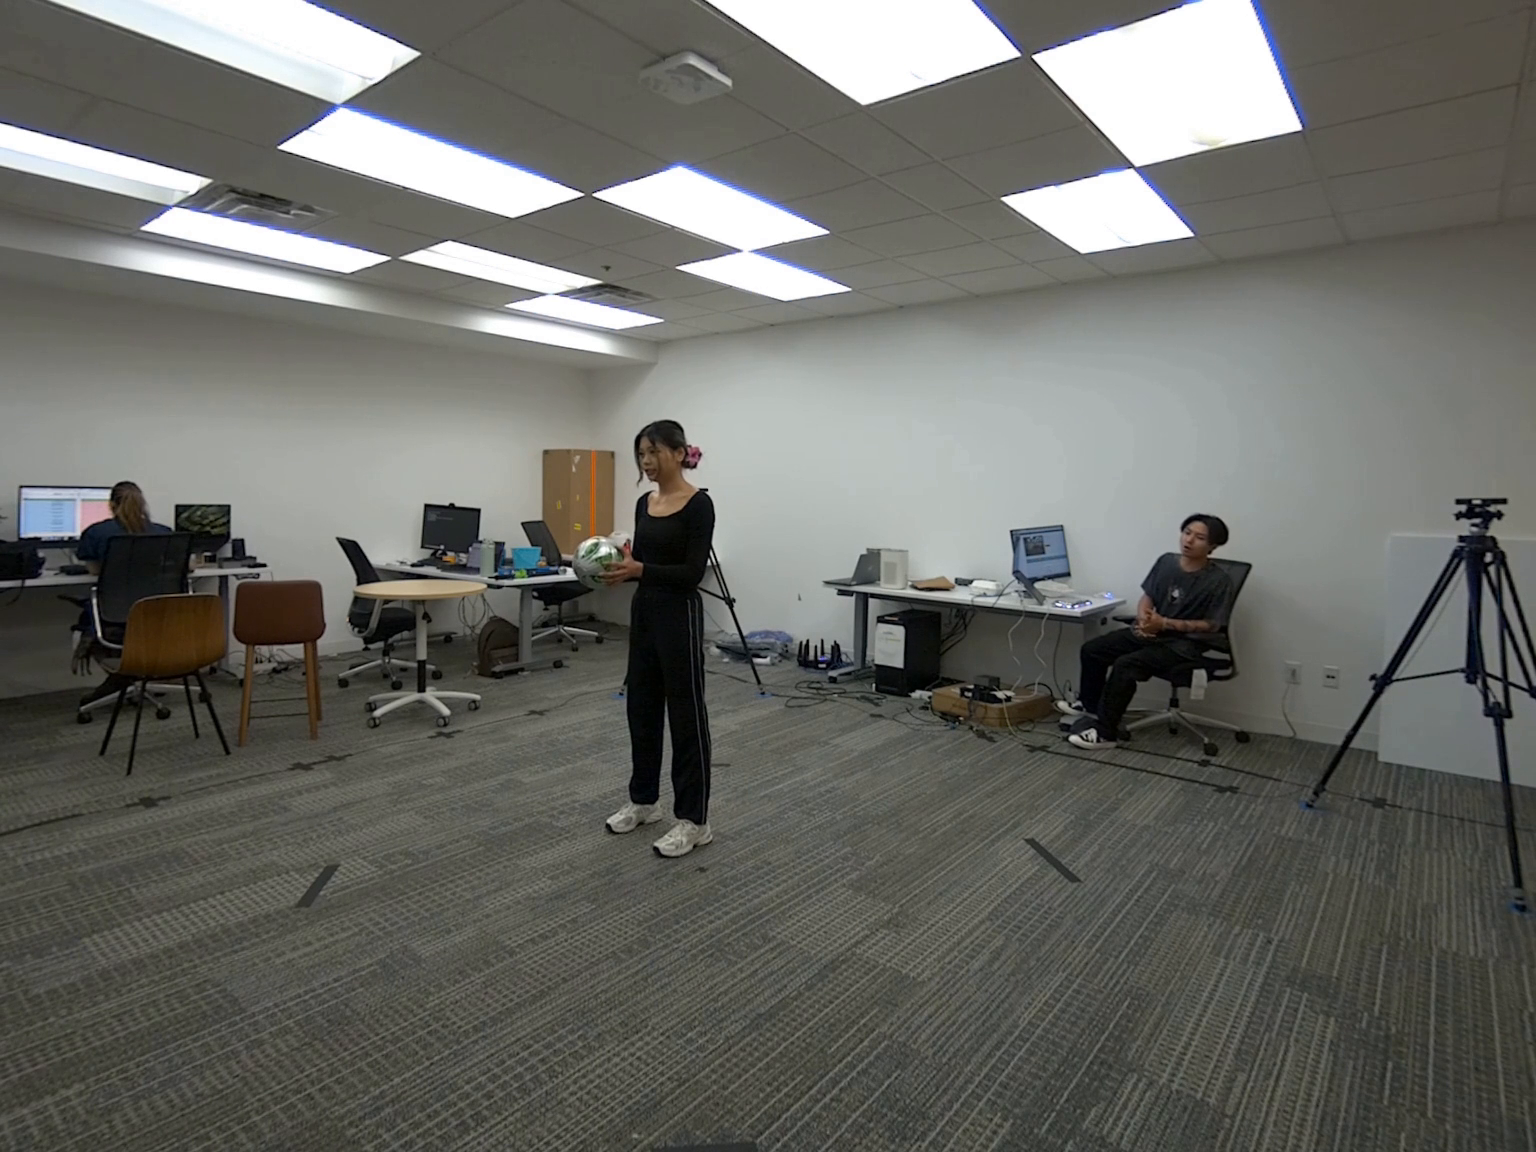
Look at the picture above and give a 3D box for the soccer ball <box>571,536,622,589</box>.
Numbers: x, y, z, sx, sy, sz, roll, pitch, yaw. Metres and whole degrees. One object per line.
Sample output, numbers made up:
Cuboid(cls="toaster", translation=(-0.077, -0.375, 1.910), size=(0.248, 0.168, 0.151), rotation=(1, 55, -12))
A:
Cuboid(cls="soccer ball", translation=(-0.627, -0.049, 3.069), size=(0.187, 0.187, 0.188), rotation=(1, 4, -2))
